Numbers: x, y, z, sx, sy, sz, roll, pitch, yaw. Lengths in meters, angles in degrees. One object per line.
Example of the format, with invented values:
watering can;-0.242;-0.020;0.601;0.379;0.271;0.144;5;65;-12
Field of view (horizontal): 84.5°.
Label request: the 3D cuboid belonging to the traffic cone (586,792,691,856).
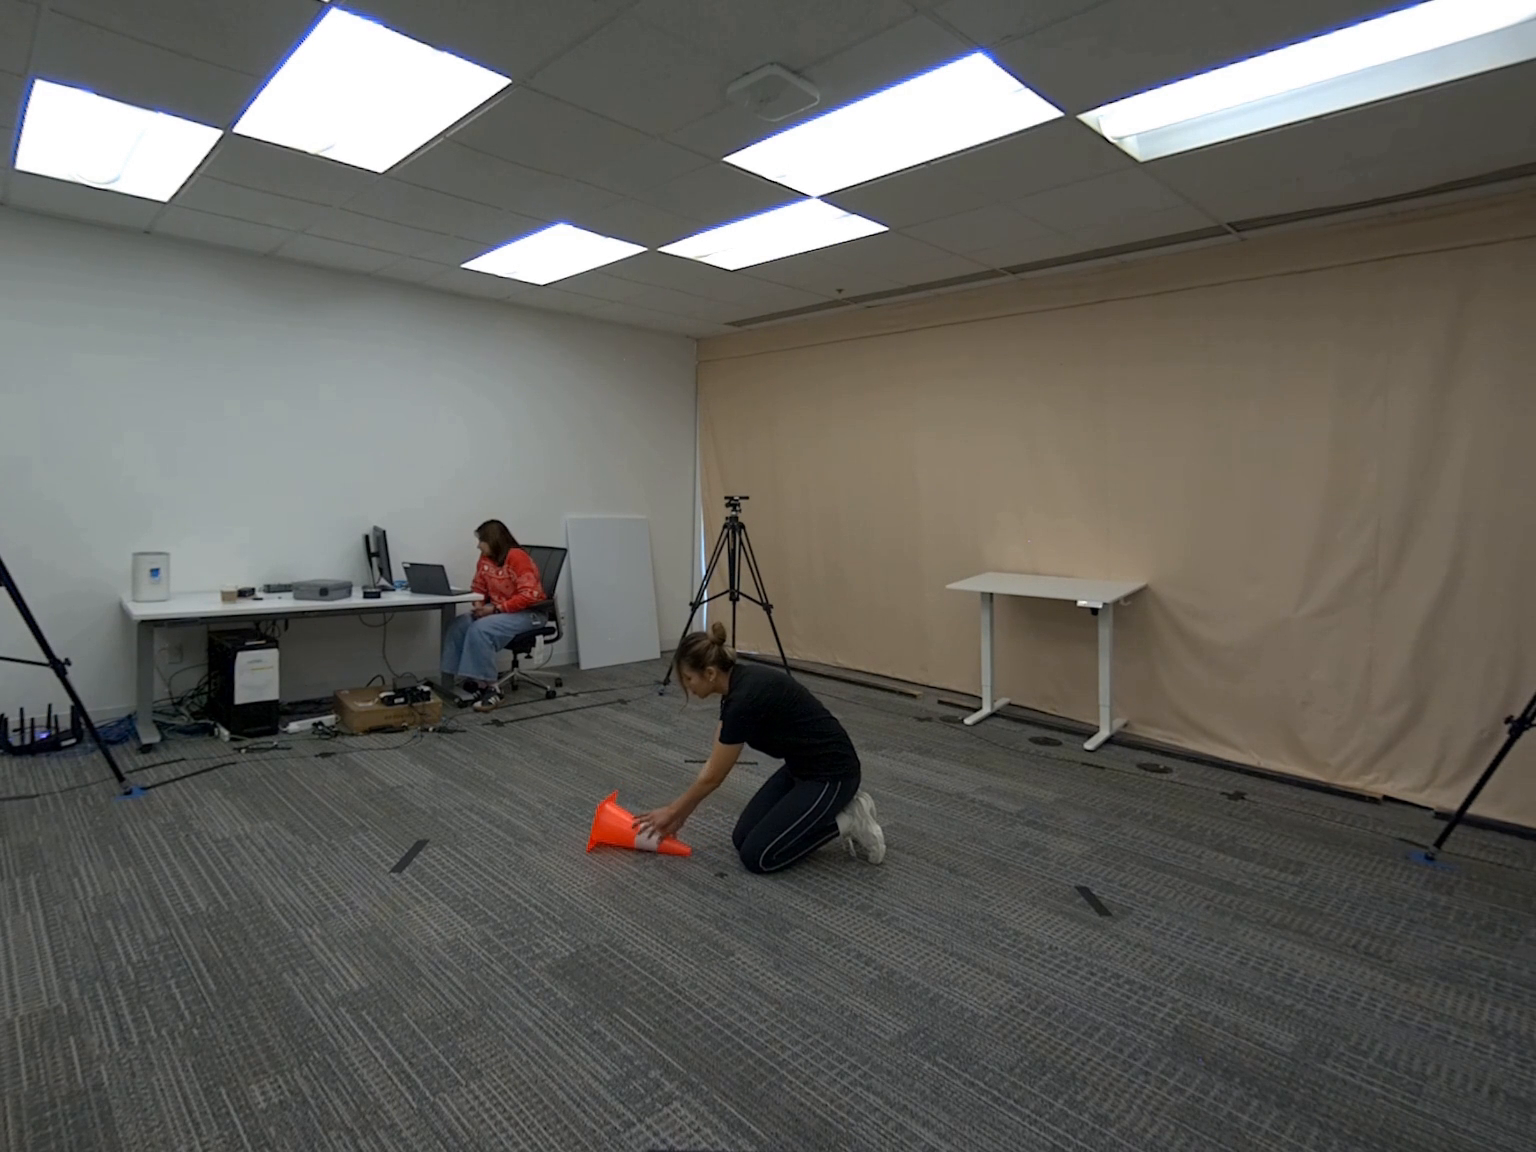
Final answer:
traffic cone;-0.487;1.024;3.316;0.388;0.204;0.201;16;7;12
